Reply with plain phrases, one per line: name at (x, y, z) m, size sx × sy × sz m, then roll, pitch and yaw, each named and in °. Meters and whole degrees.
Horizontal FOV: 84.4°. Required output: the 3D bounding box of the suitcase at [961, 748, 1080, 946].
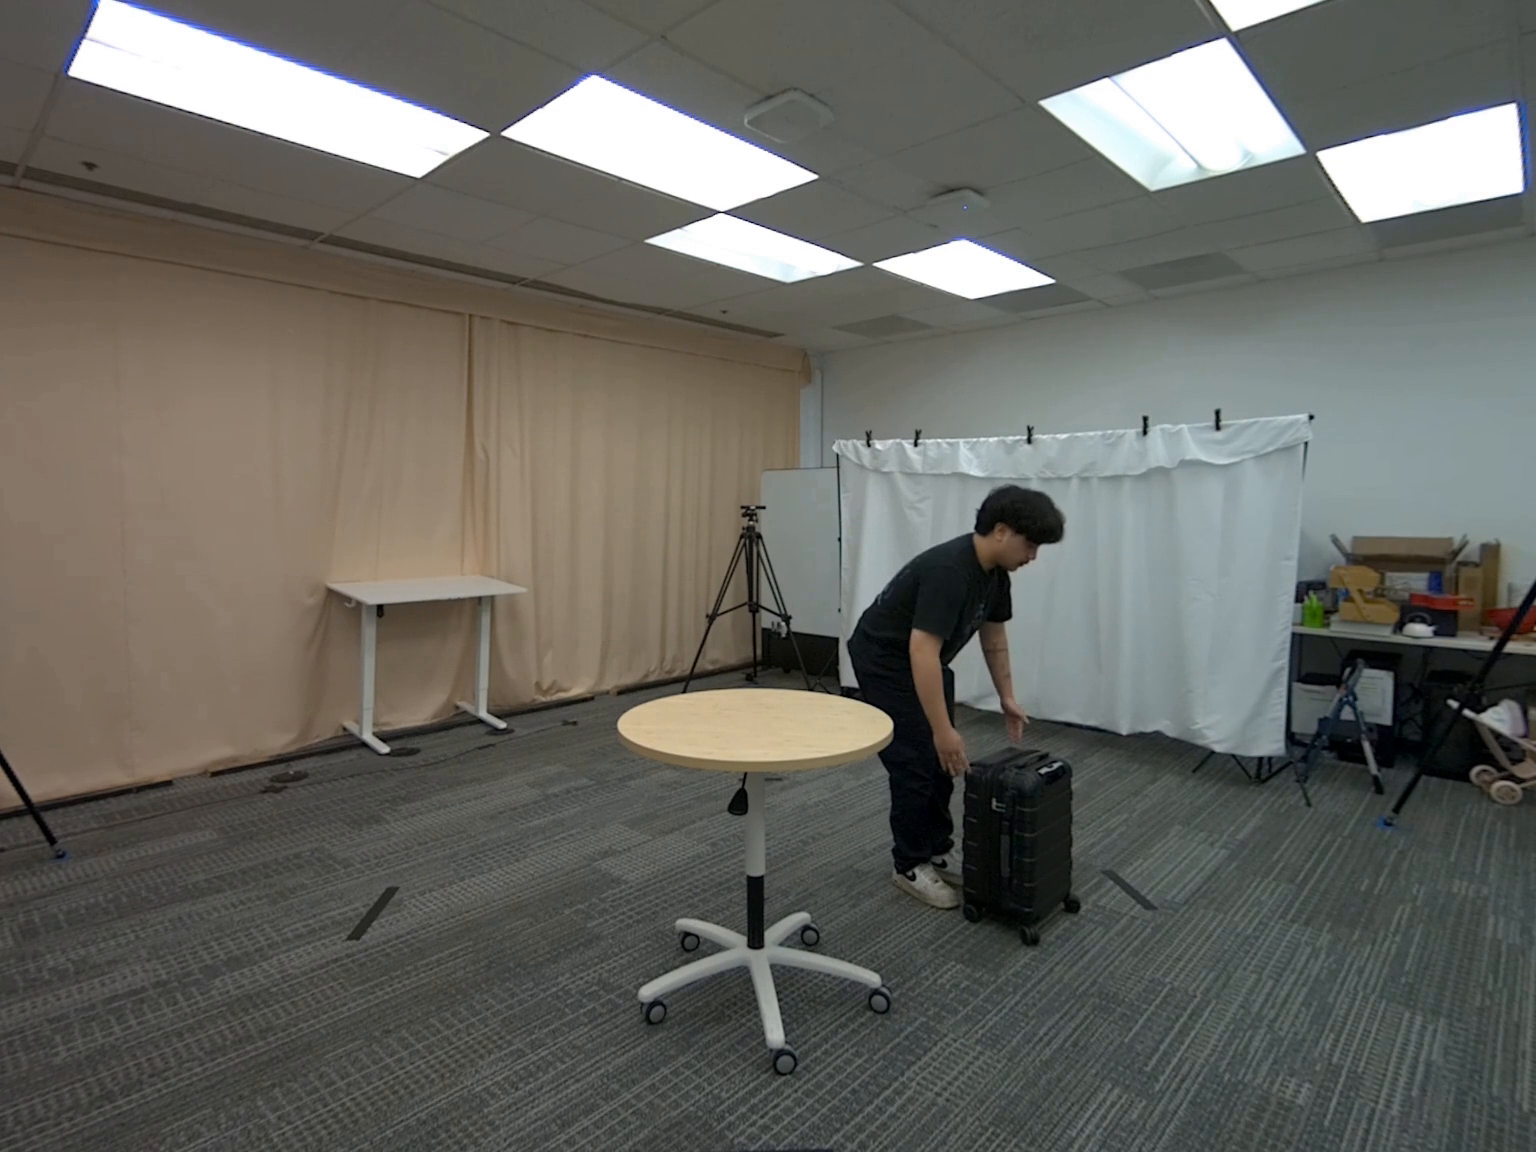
suitcase at (0.860, 0.877, 2.854) m, size 0.256 × 0.549 × 0.364 m, roll 1°, pitch 2°, yaw 45°
